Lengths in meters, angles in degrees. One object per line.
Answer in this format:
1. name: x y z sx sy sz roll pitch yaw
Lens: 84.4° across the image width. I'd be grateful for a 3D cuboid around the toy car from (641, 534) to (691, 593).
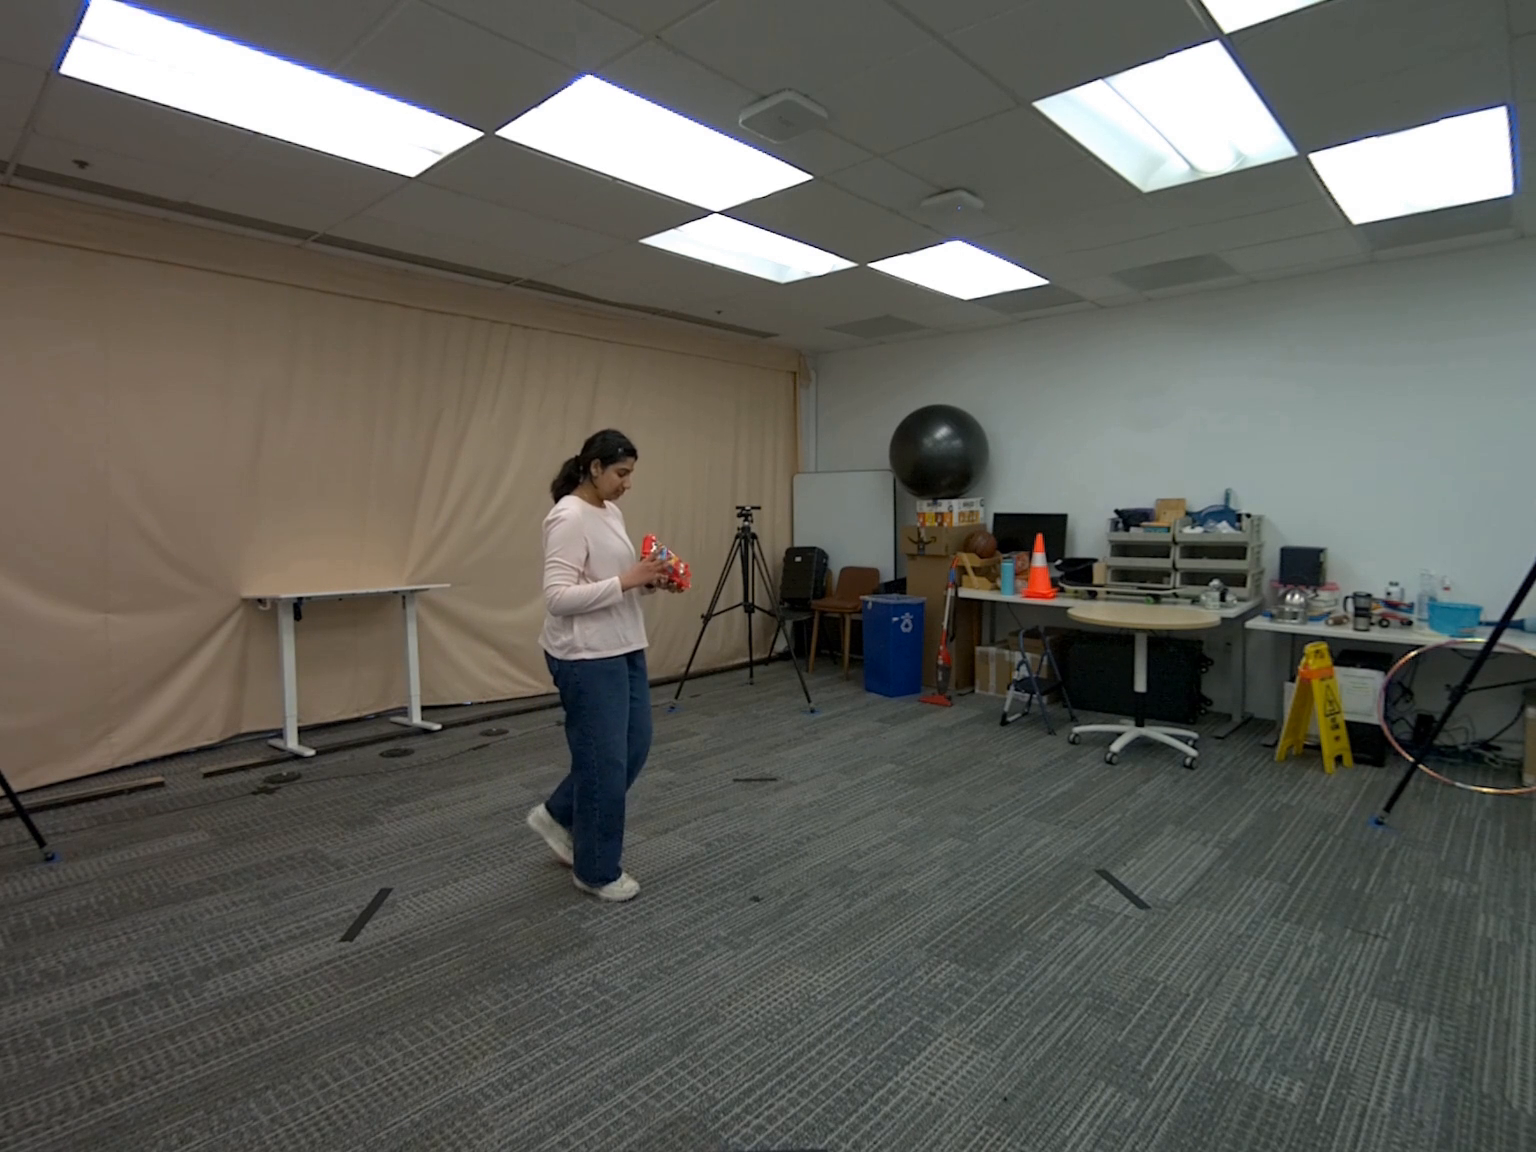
1. toy car: -0.363 -0.044 3.010 0.084 0.133 0.246 -31 -51 30
